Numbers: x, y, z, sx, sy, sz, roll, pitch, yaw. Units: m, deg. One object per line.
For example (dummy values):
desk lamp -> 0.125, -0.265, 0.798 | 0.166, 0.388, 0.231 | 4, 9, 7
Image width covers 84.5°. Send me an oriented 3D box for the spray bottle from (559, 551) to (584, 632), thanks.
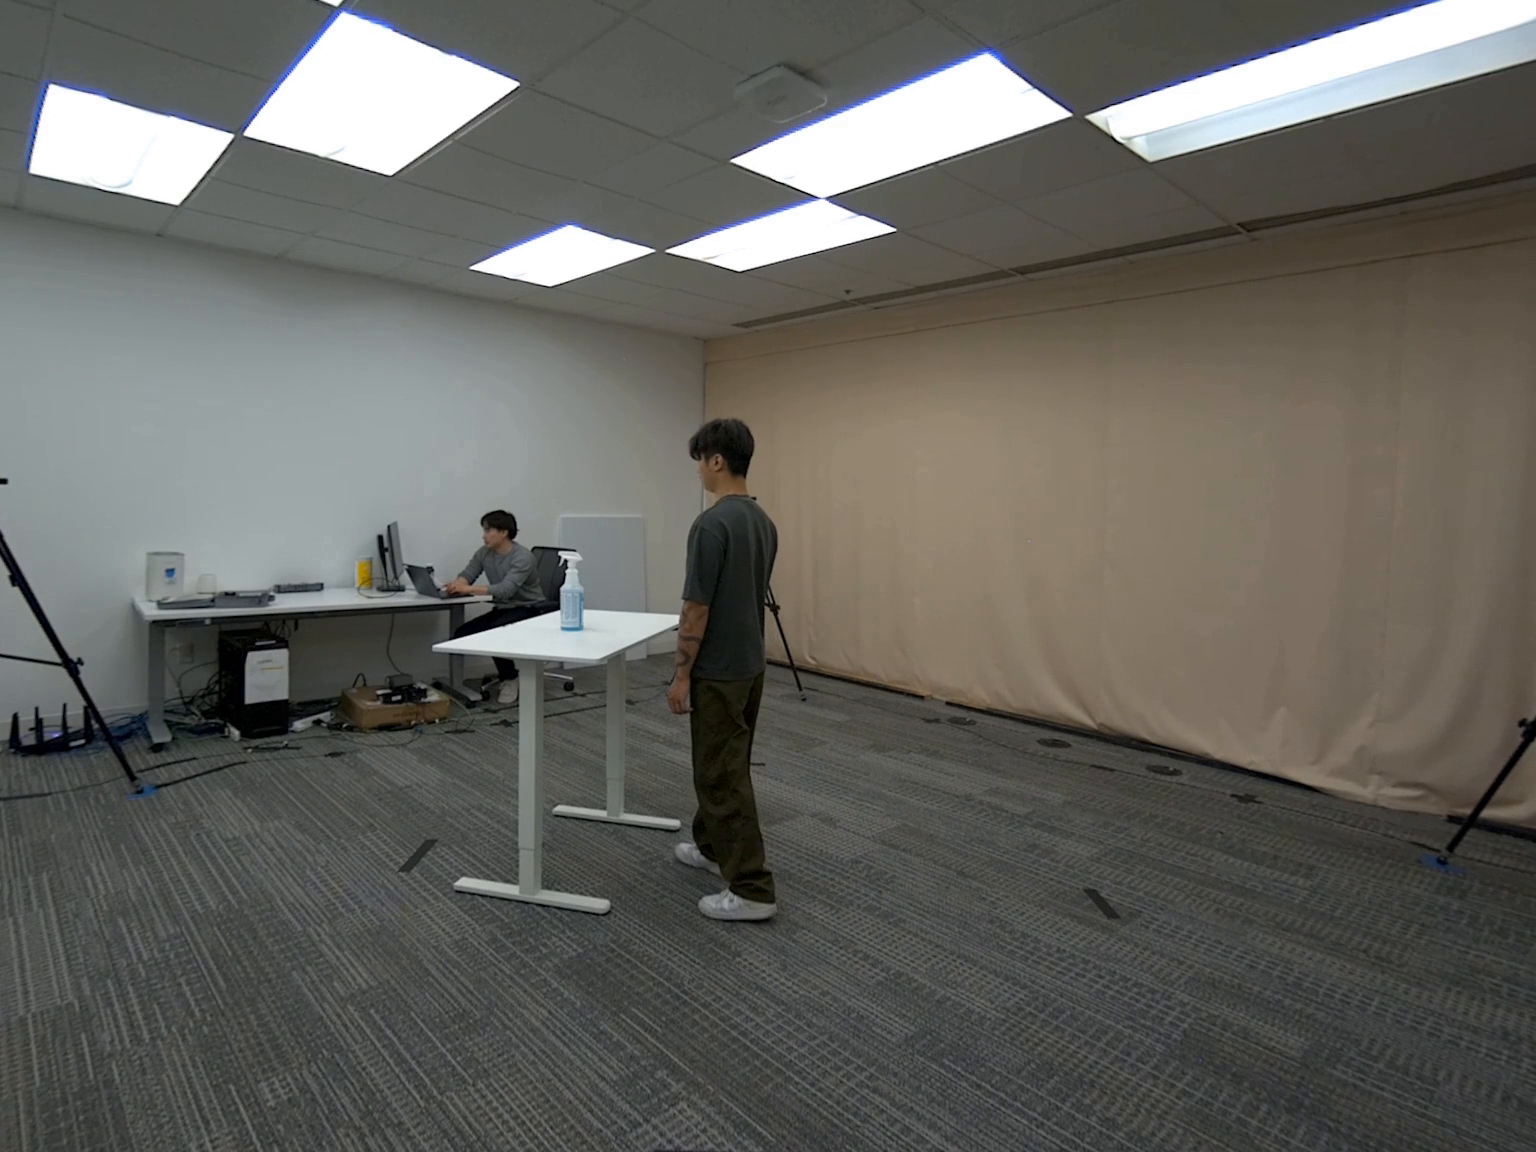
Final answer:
spray bottle -> -0.744, 0.058, 3.182 | 0.092, 0.296, 0.085 | 3, 4, 29
